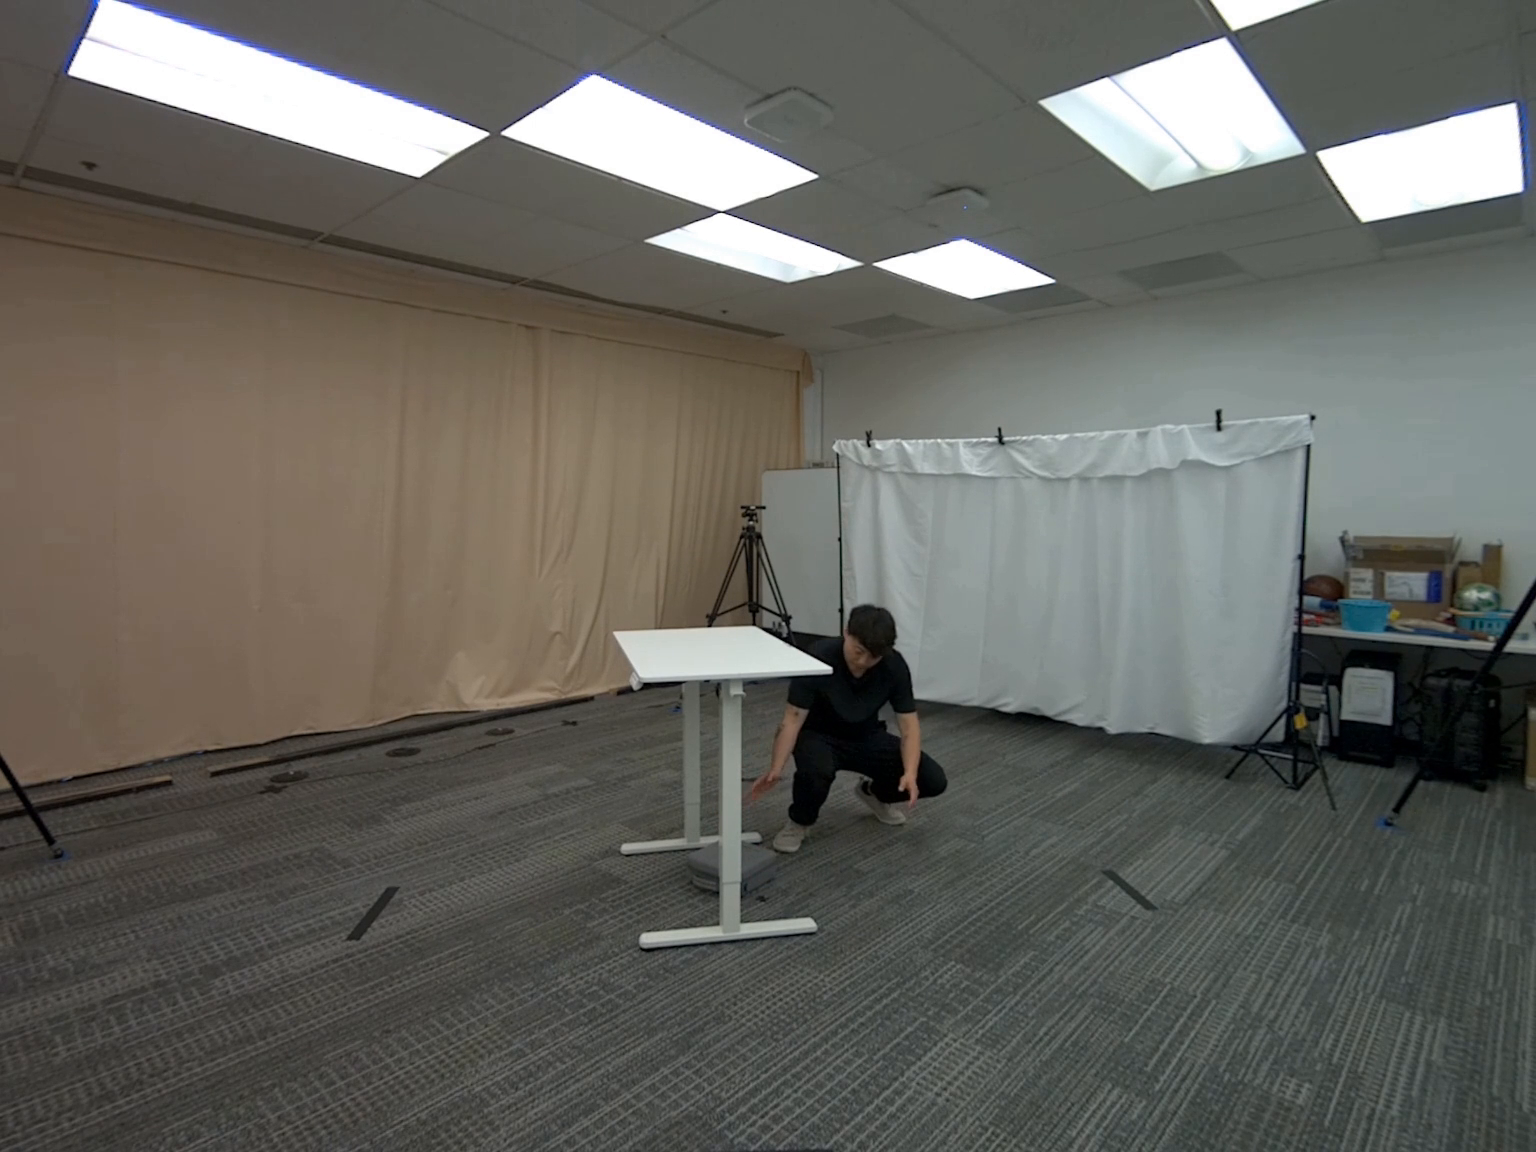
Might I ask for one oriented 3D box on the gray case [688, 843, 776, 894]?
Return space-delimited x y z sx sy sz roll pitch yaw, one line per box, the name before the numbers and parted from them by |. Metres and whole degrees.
gray case | -0.132 1.074 3.123 0.265 0.104 0.253 5 8 40
